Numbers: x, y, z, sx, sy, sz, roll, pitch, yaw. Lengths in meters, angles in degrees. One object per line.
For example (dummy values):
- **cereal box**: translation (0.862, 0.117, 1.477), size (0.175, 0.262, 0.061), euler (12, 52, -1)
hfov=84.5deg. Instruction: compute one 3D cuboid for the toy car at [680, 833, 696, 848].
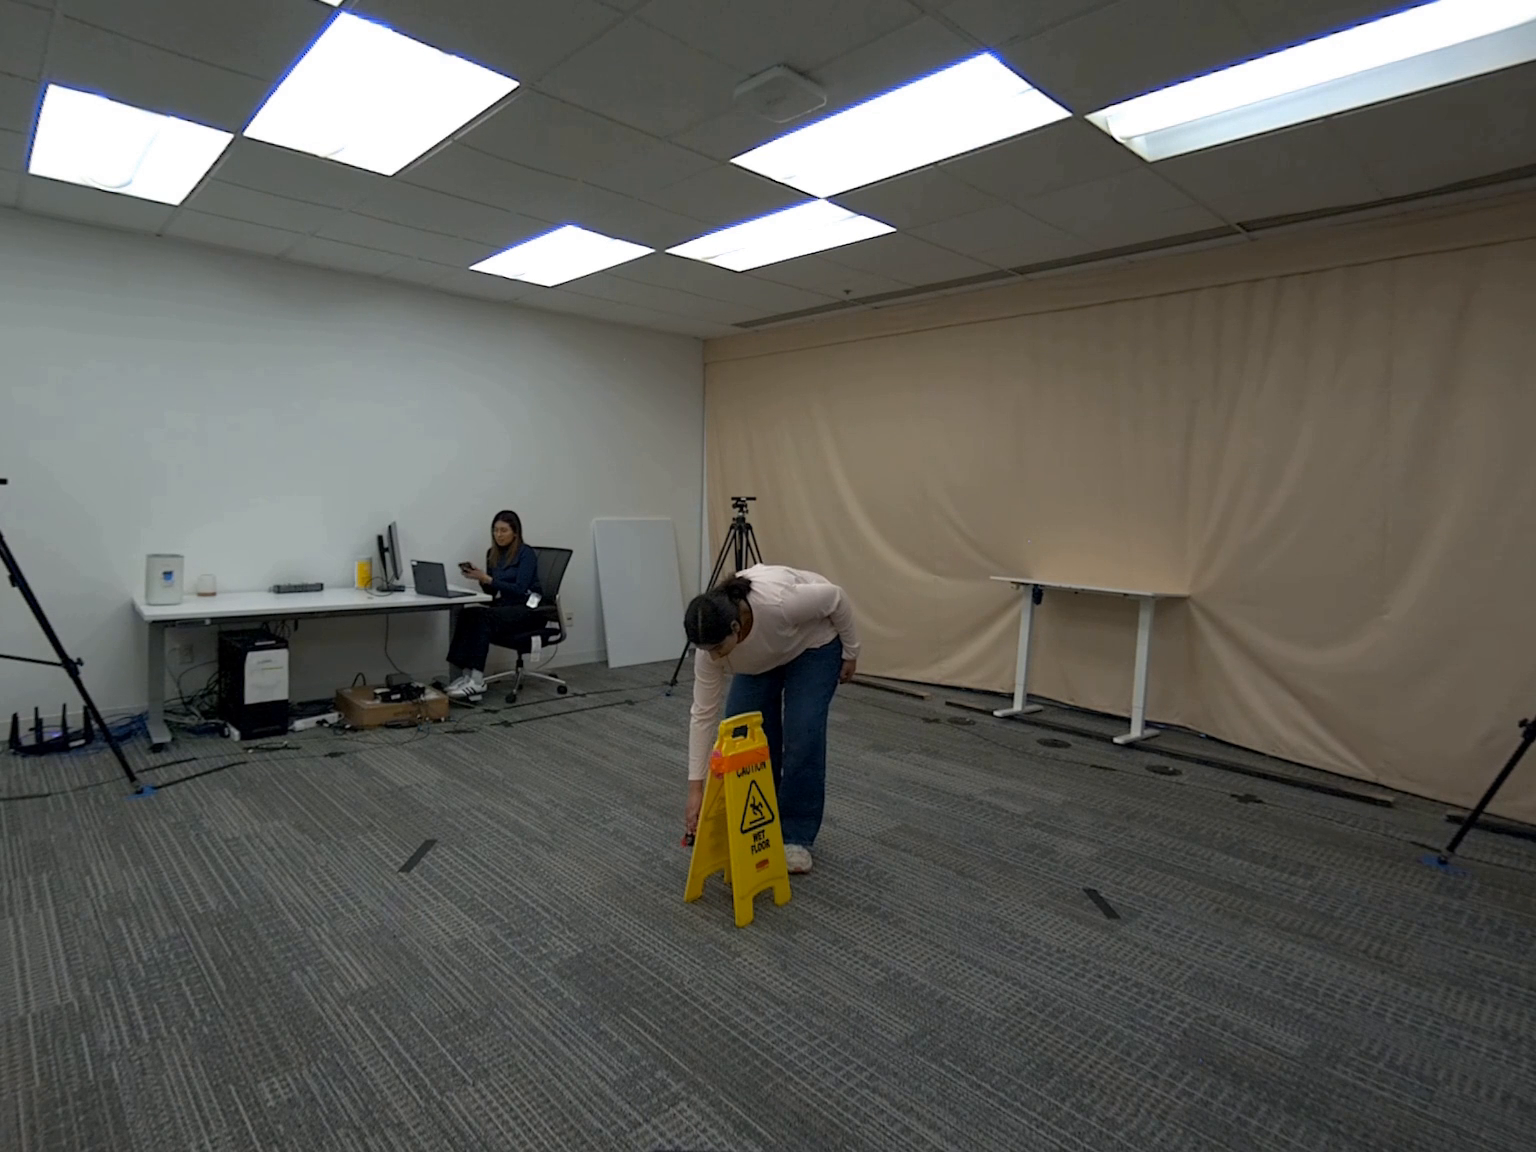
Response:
- **toy car**: translation (-0.223, 0.897, 3.022), size (0.127, 0.085, 0.254), euler (-6, -31, -47)
